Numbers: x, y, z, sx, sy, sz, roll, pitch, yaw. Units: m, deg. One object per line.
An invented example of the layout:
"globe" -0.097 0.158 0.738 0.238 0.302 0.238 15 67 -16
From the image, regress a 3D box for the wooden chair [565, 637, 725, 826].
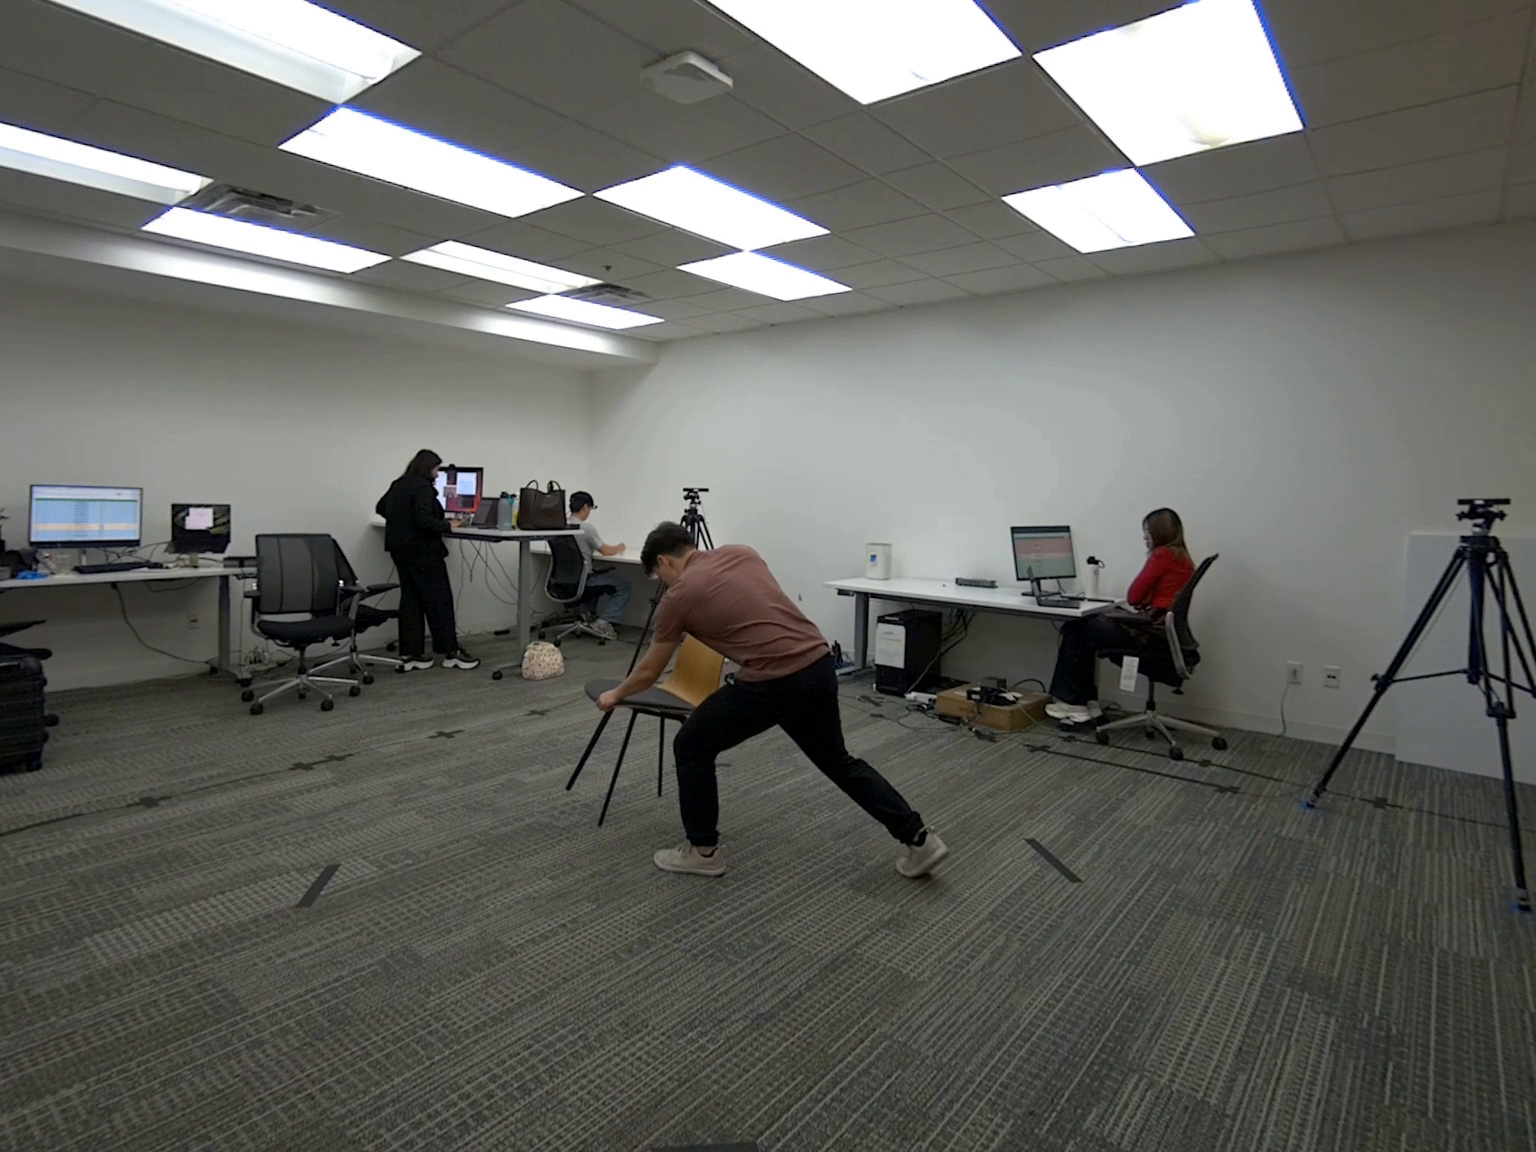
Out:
"wooden chair" -0.511 0.558 3.568 0.507 0.879 0.492 16 -4 -28
